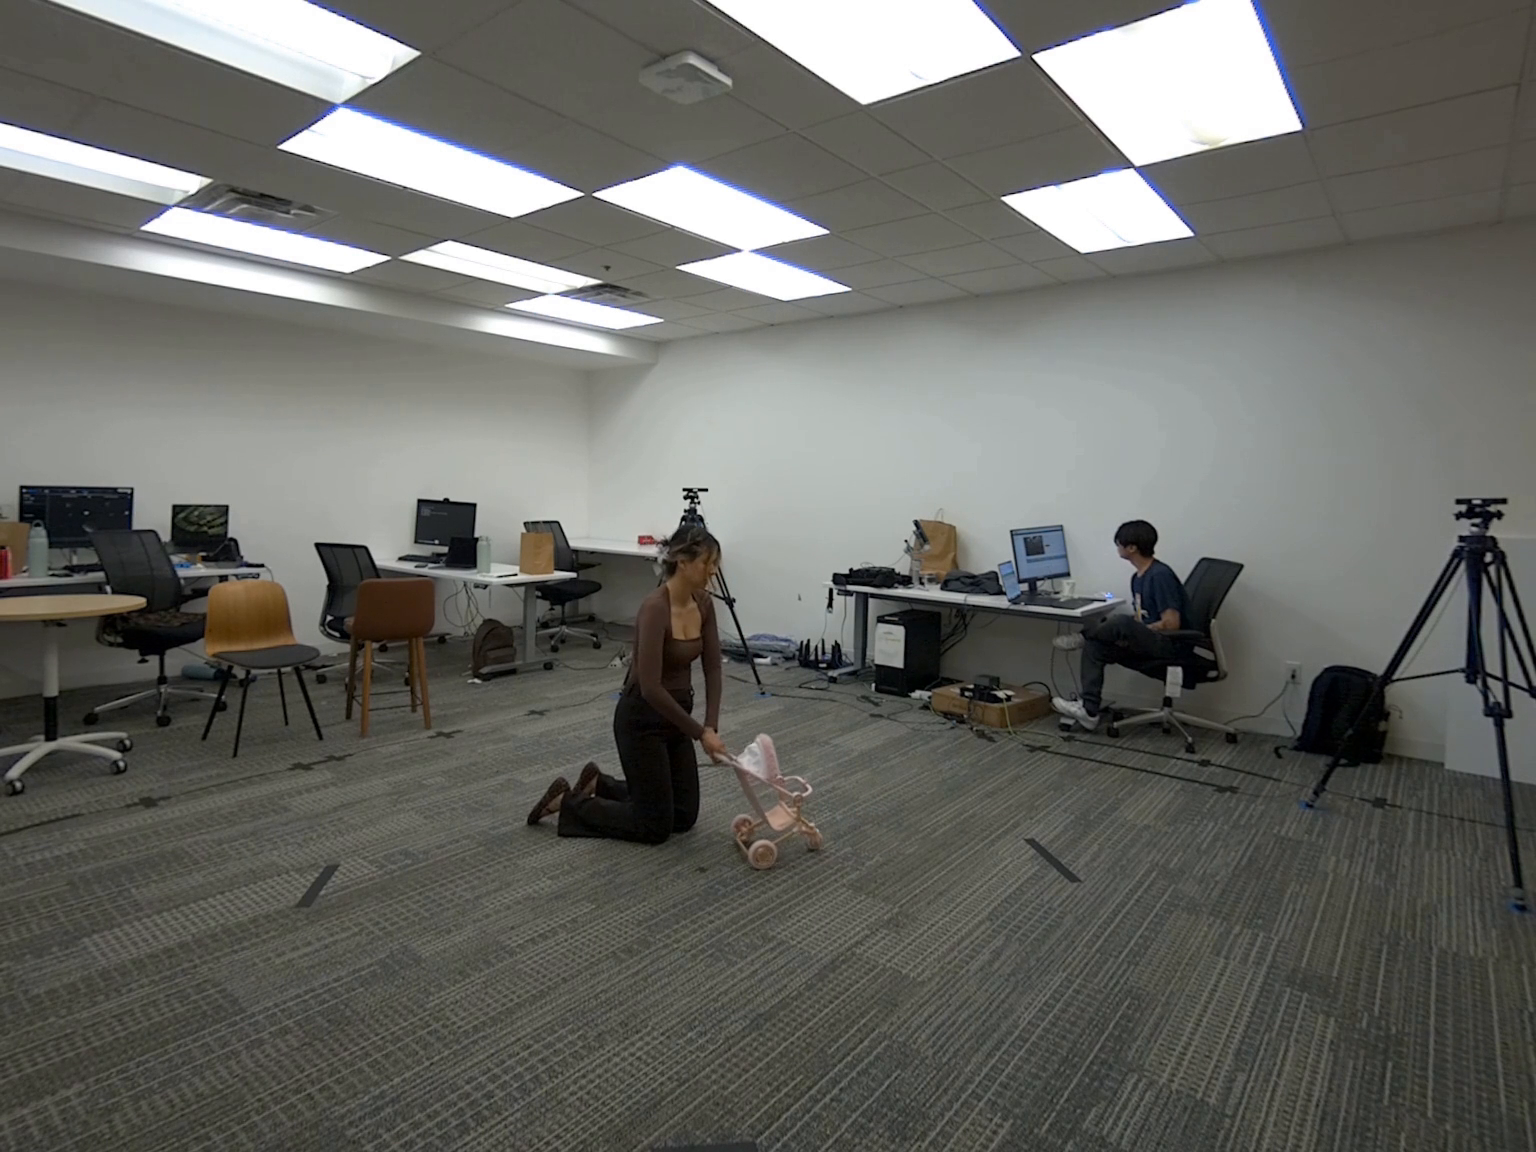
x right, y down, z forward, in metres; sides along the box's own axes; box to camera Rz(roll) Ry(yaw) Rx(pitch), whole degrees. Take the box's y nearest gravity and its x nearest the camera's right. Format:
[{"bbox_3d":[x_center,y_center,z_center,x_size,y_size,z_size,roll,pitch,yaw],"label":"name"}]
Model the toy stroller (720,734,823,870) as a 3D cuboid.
[{"bbox_3d":[-0.004,0.832,3.240,0.339,0.531,0.286,-17,7,-11],"label":"toy stroller"}]
